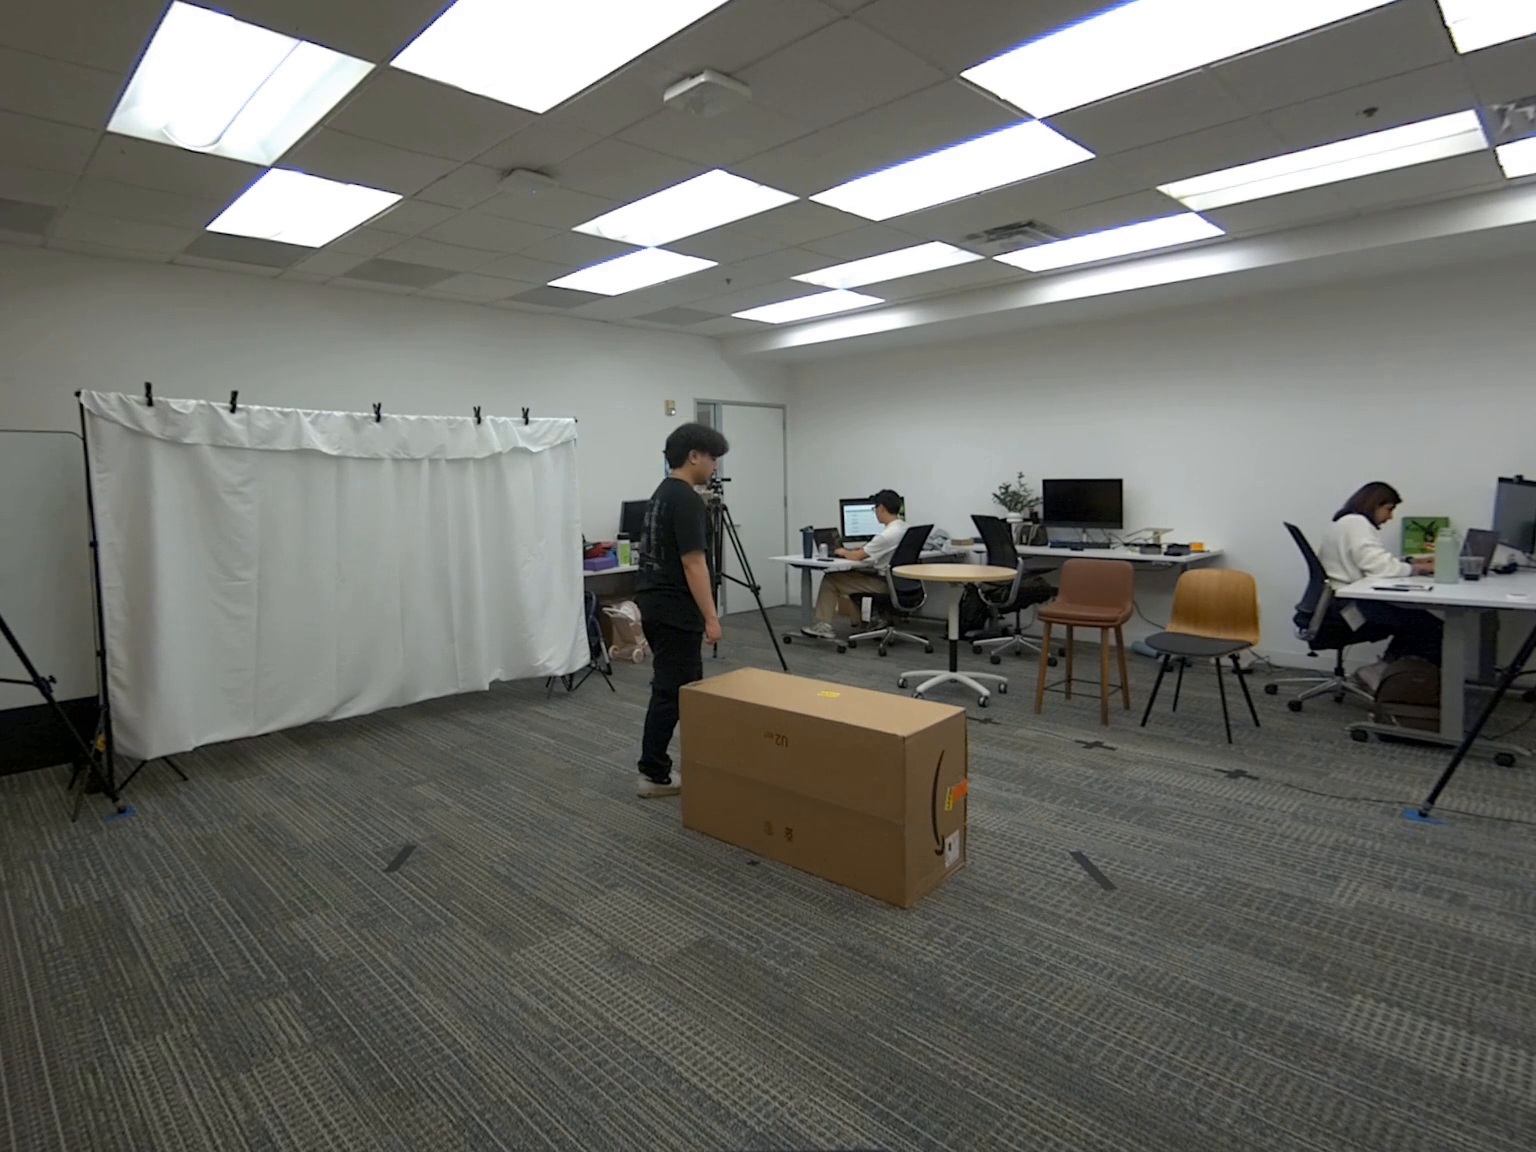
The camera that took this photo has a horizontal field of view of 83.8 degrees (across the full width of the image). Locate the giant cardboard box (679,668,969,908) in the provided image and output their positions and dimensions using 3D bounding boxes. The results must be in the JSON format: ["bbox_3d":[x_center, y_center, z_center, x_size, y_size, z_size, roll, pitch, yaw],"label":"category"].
[{"bbox_3d":[0.183,0.739,3.225,1.059,0.582,0.435,5,6,40],"label":"giant cardboard box"}]
